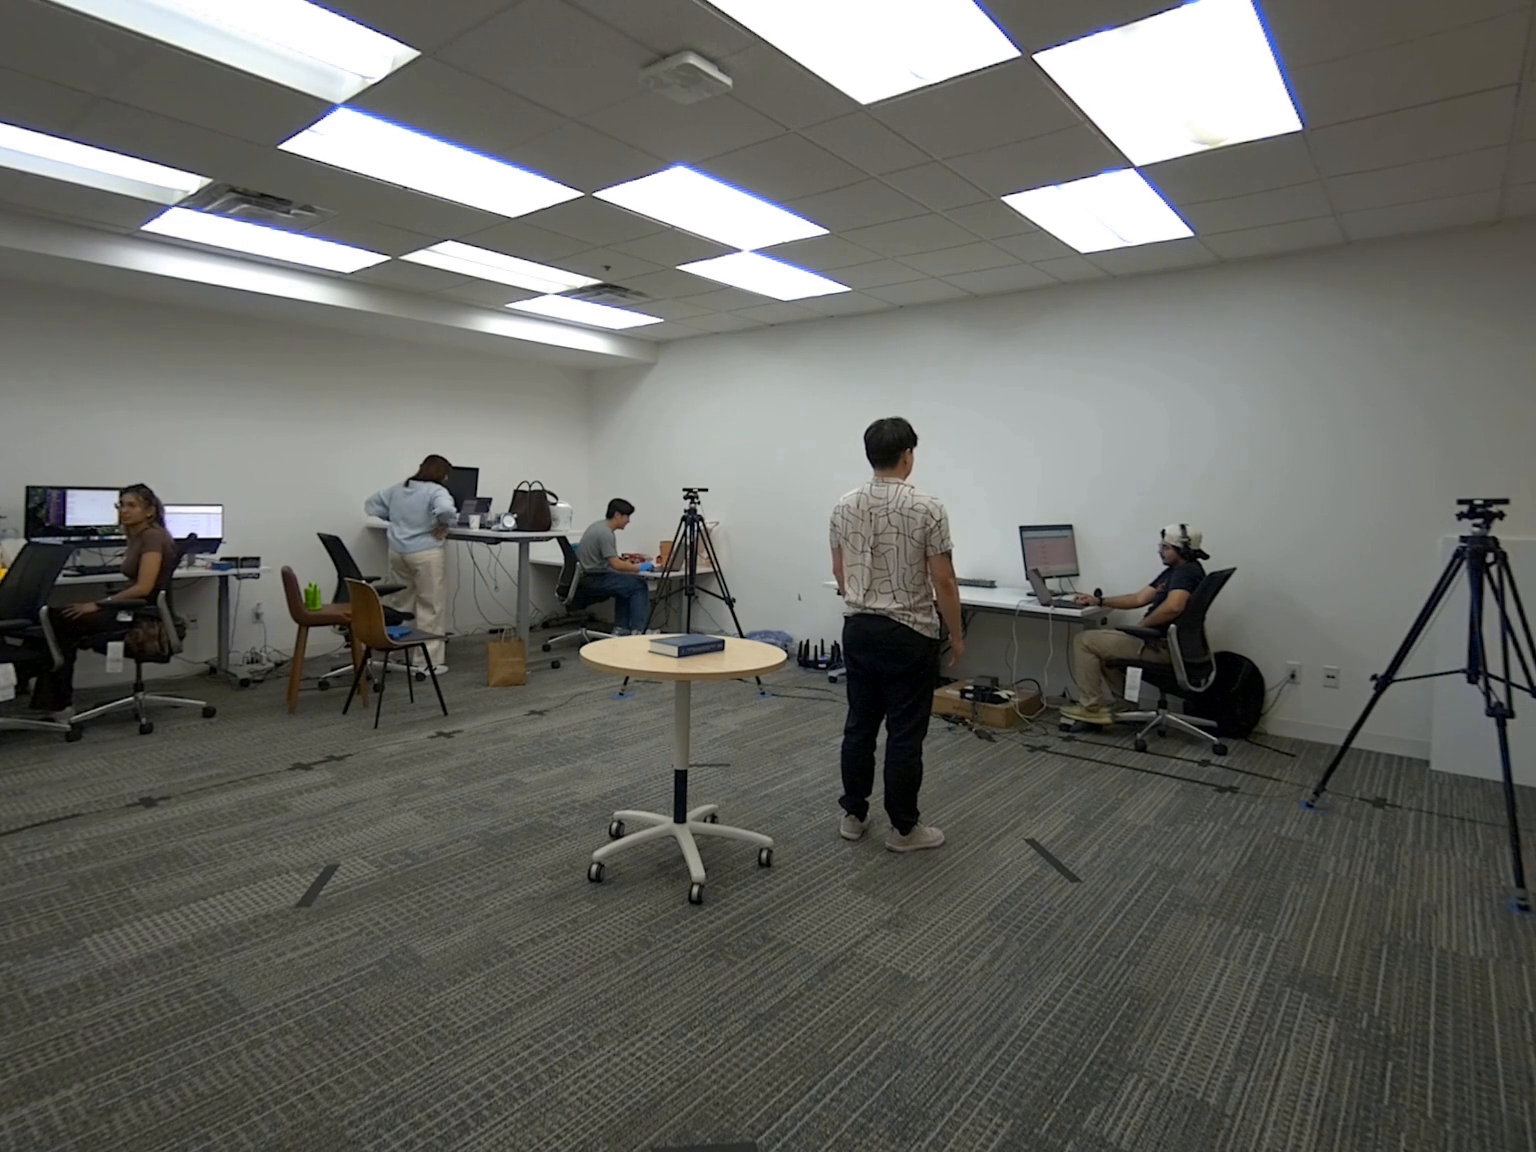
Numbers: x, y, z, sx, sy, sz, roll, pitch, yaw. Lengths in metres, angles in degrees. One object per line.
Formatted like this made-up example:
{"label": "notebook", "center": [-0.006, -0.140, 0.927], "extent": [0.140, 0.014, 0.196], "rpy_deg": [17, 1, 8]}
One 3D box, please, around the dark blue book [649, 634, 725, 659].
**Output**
{"label": "dark blue book", "center": [-0.325, 0.263, 3.168], "extent": [0.169, 0.045, 0.238], "rpy_deg": [6, 7, 42]}
